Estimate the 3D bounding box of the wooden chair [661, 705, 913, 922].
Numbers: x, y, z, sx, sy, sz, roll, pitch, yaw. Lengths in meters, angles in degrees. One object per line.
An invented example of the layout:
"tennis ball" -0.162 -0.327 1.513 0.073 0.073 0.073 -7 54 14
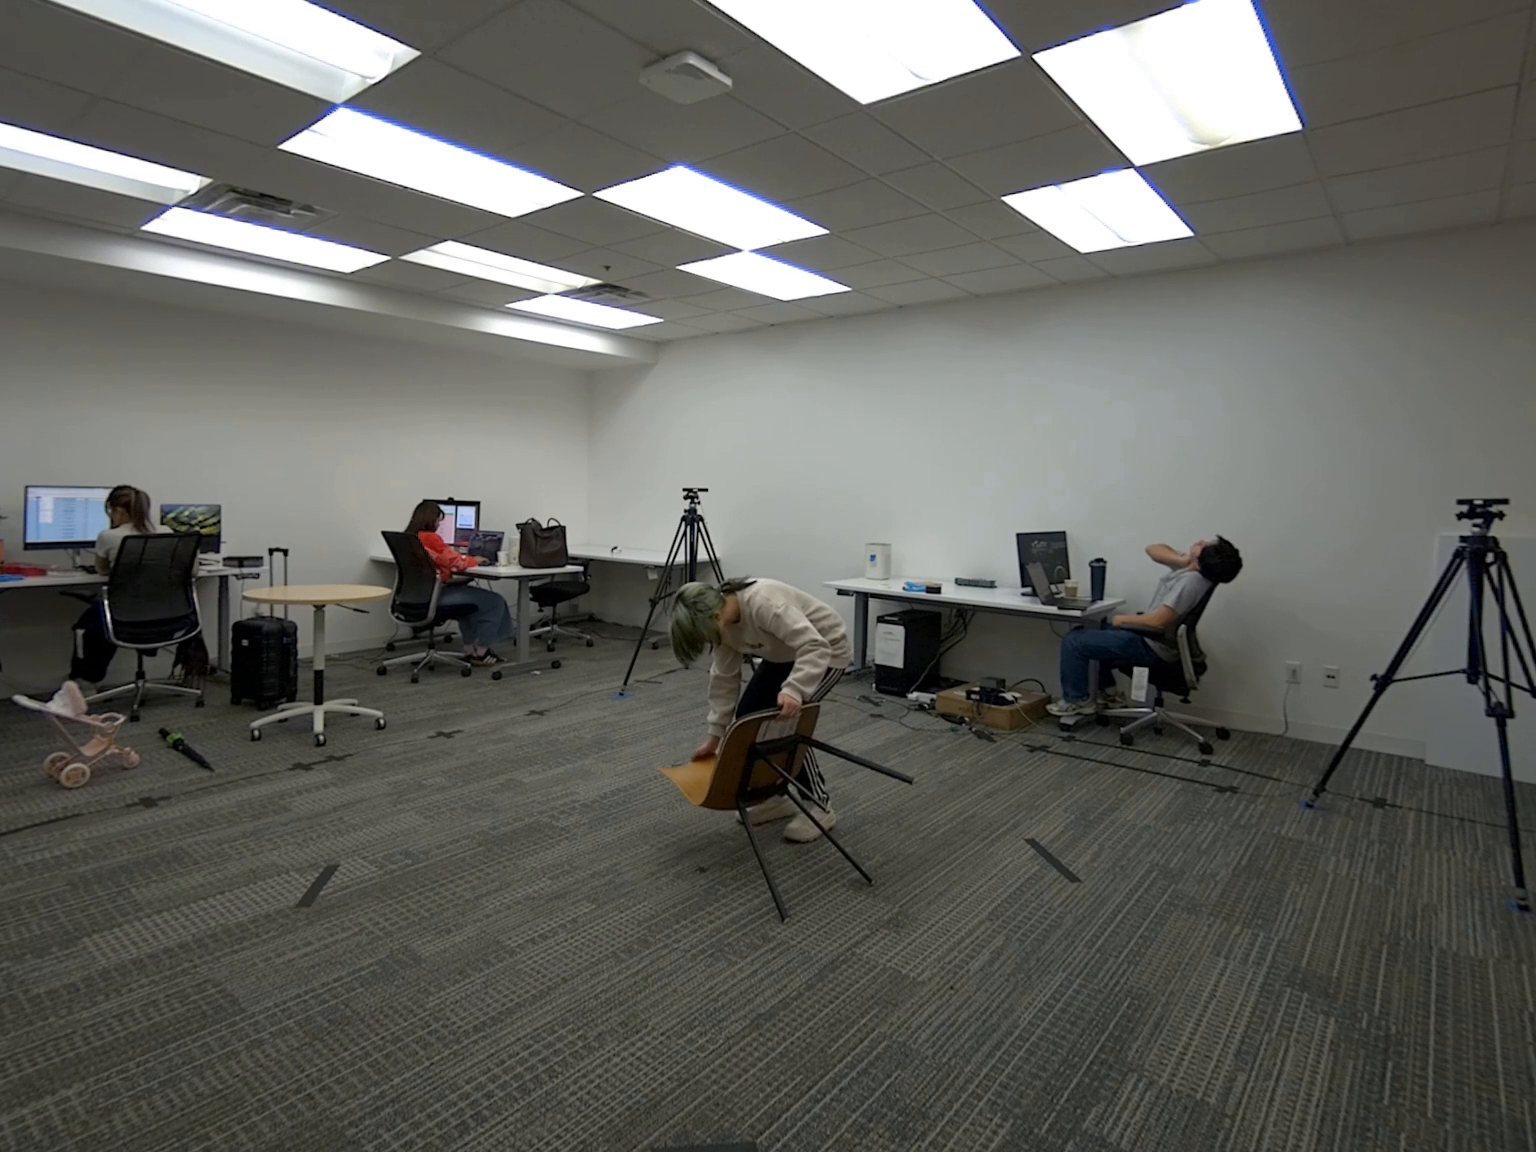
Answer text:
"wooden chair" 0.000 0.702 3.088 0.464 0.517 0.915 -3 23 -42
